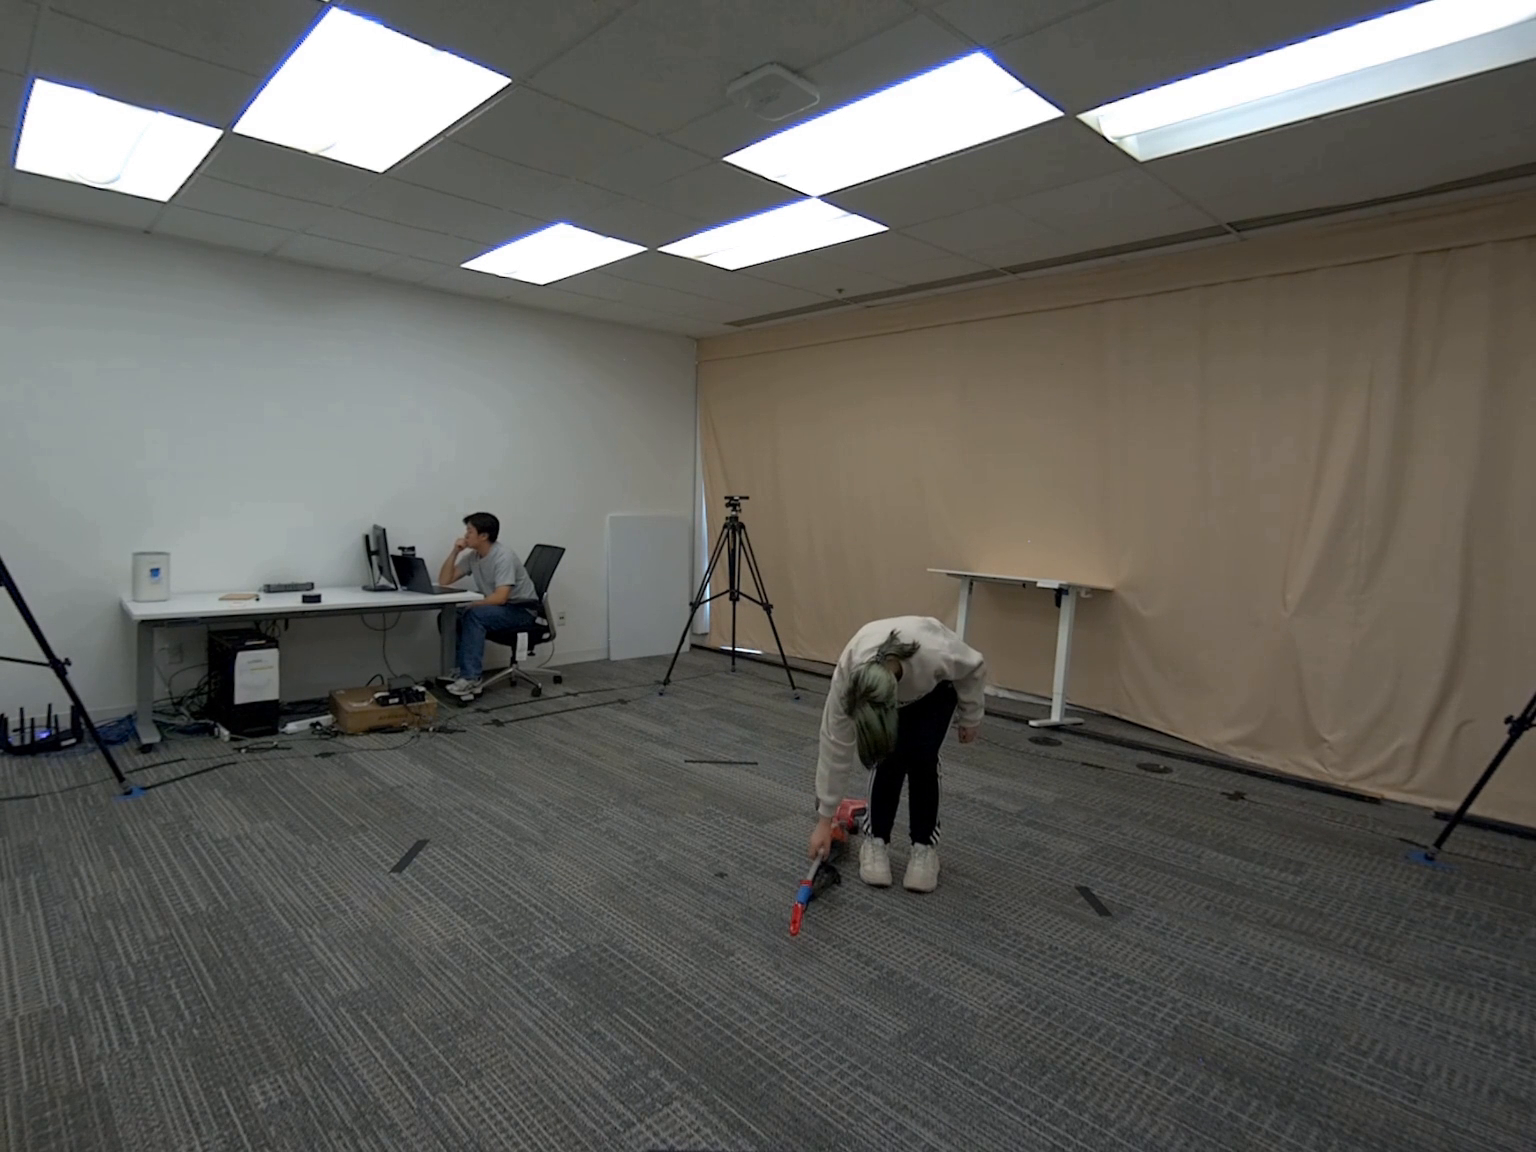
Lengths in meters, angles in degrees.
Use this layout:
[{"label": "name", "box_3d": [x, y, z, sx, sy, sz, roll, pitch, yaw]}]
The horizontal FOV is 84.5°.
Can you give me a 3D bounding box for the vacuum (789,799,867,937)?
[{"label": "vacuum", "box_3d": [0.193, 1.052, 3.075, 0.255, 0.143, 1.040, 3, 5, 13]}]
